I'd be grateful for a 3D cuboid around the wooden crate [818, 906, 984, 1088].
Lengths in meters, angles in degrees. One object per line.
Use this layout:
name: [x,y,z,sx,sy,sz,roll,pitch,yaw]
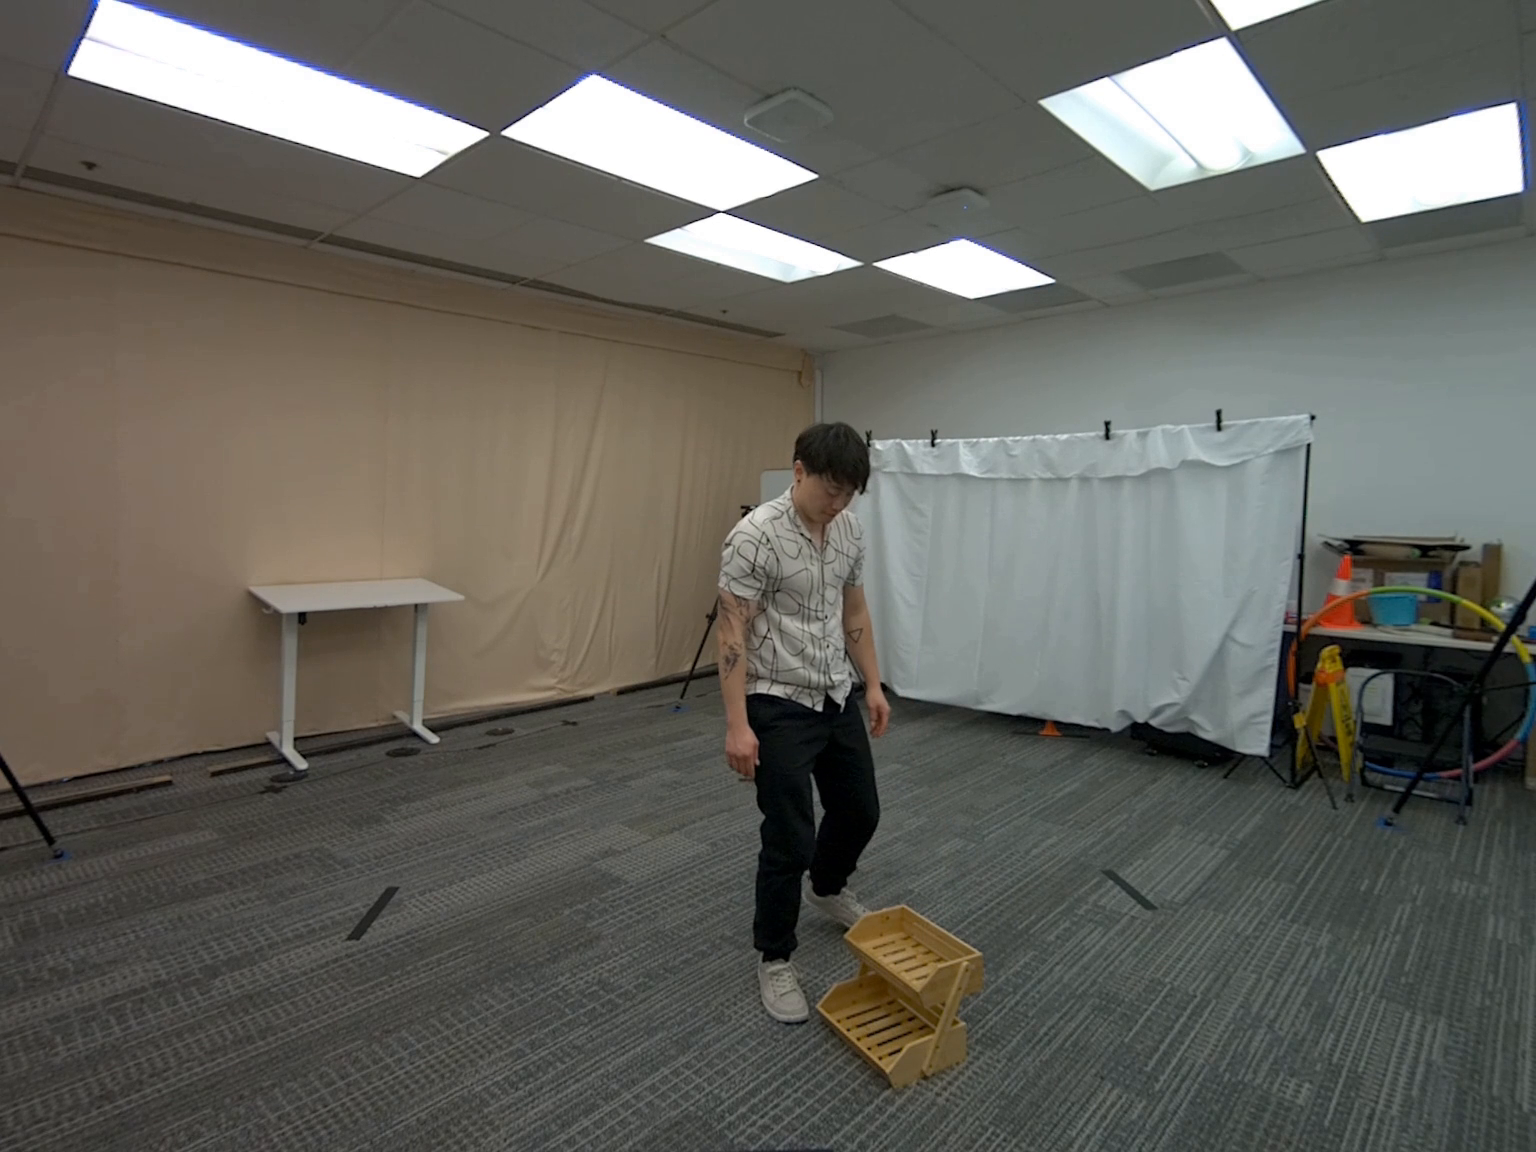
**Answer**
wooden crate: [0.338,1.074,2.193,0.294,0.273,0.334,-1,4,-31]
